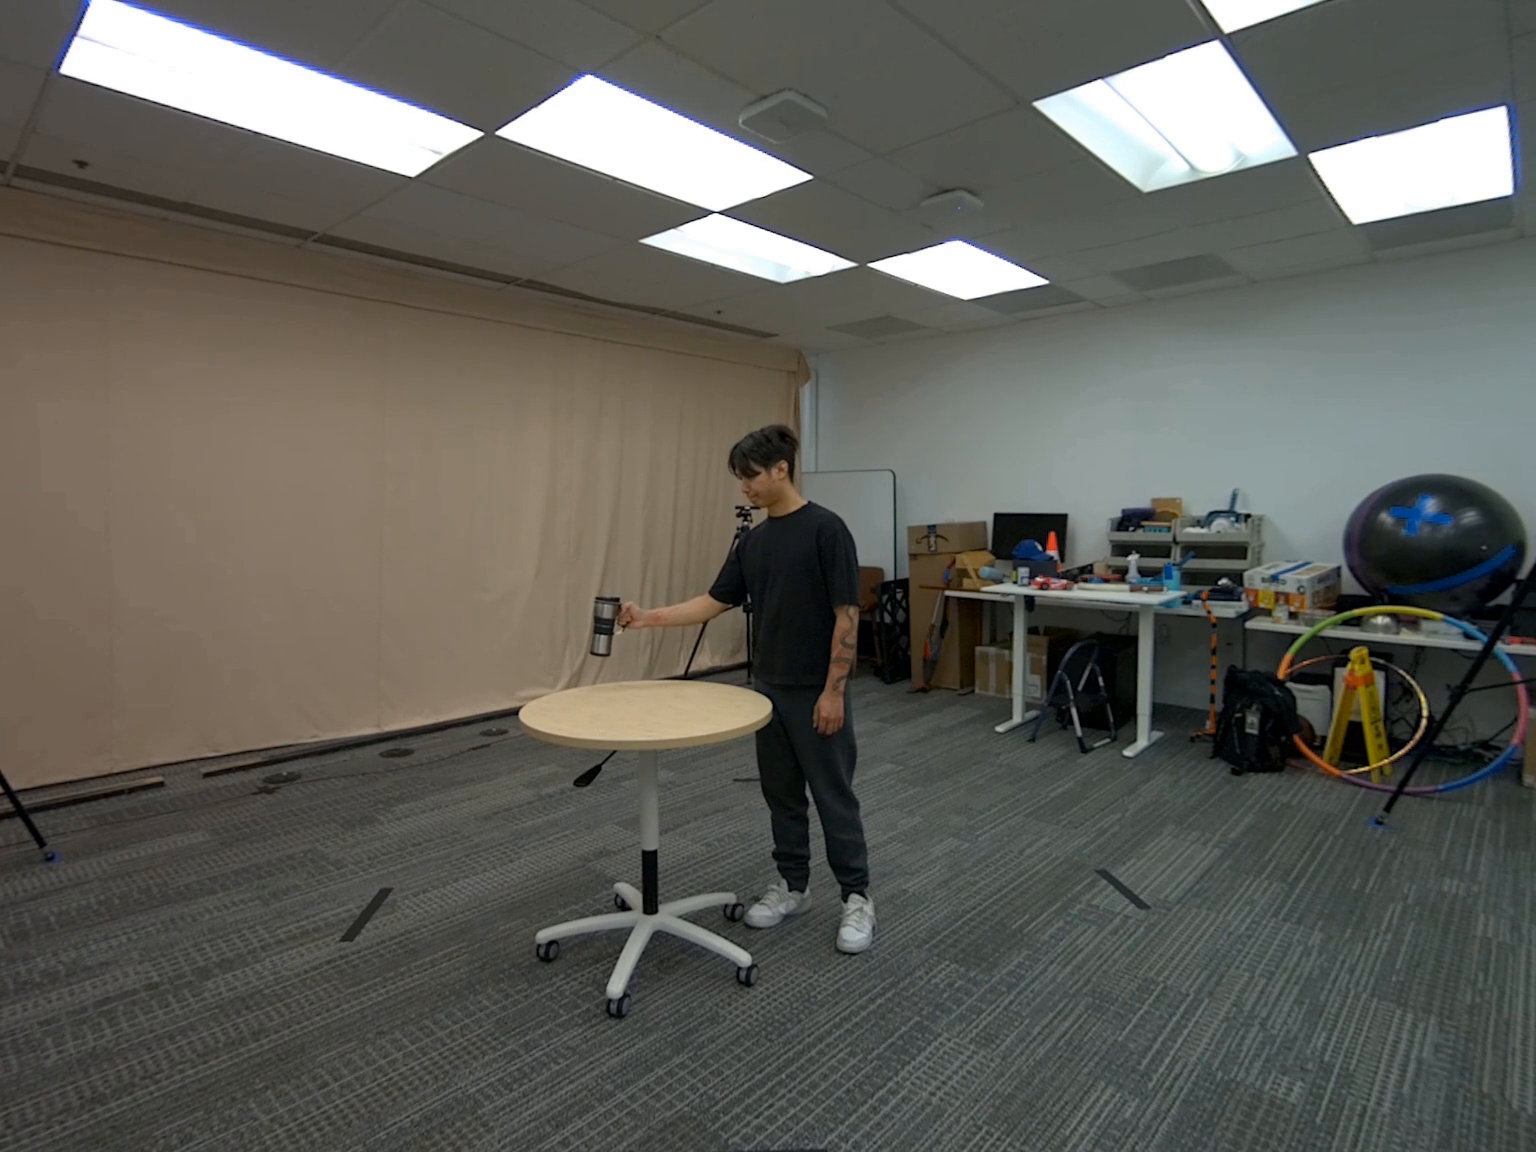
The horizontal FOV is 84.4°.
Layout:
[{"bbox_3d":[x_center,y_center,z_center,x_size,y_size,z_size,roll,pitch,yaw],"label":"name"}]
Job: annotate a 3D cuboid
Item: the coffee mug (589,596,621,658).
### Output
[{"bbox_3d":[-0.544,0.175,2.874,0.126,0.203,0.085,5,-2,35],"label":"coffee mug"}]
